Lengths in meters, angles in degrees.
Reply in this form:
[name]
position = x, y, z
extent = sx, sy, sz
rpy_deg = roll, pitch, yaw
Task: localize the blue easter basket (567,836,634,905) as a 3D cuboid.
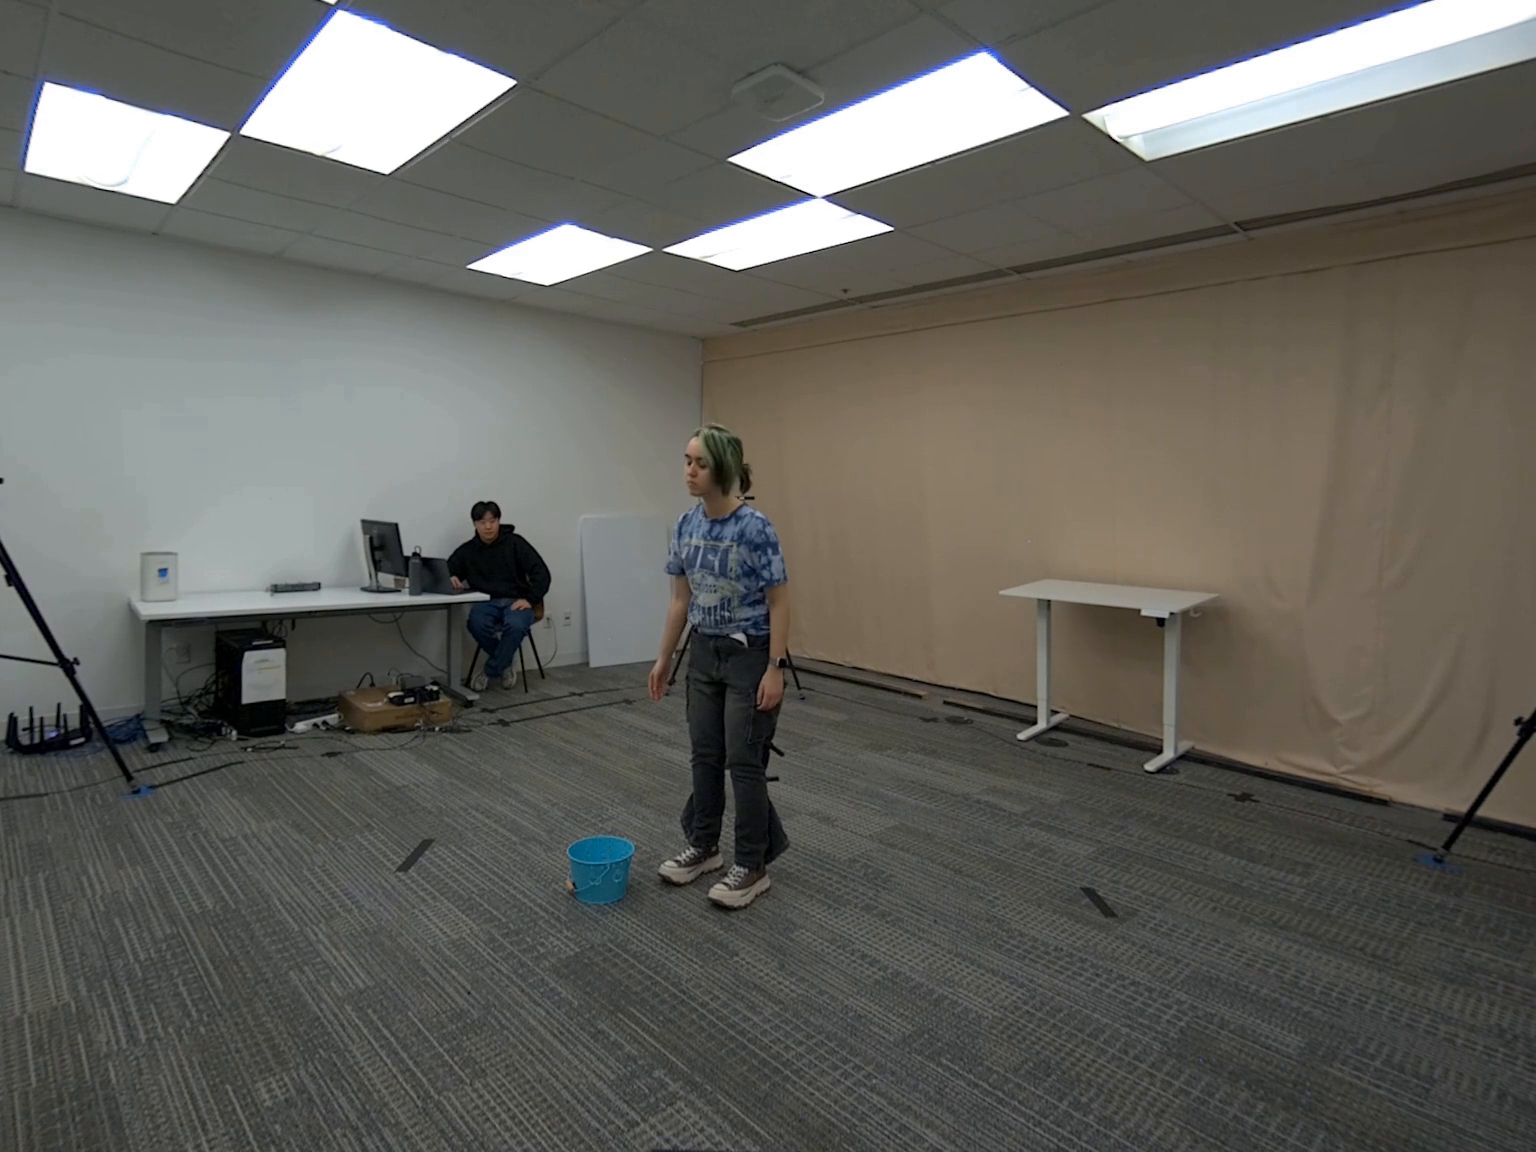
[blue easter basket]
position = -0.599, 1.030, 2.948
extent = 0.243, 0.155, 0.244
rpy_deg = 2, 5, -1
